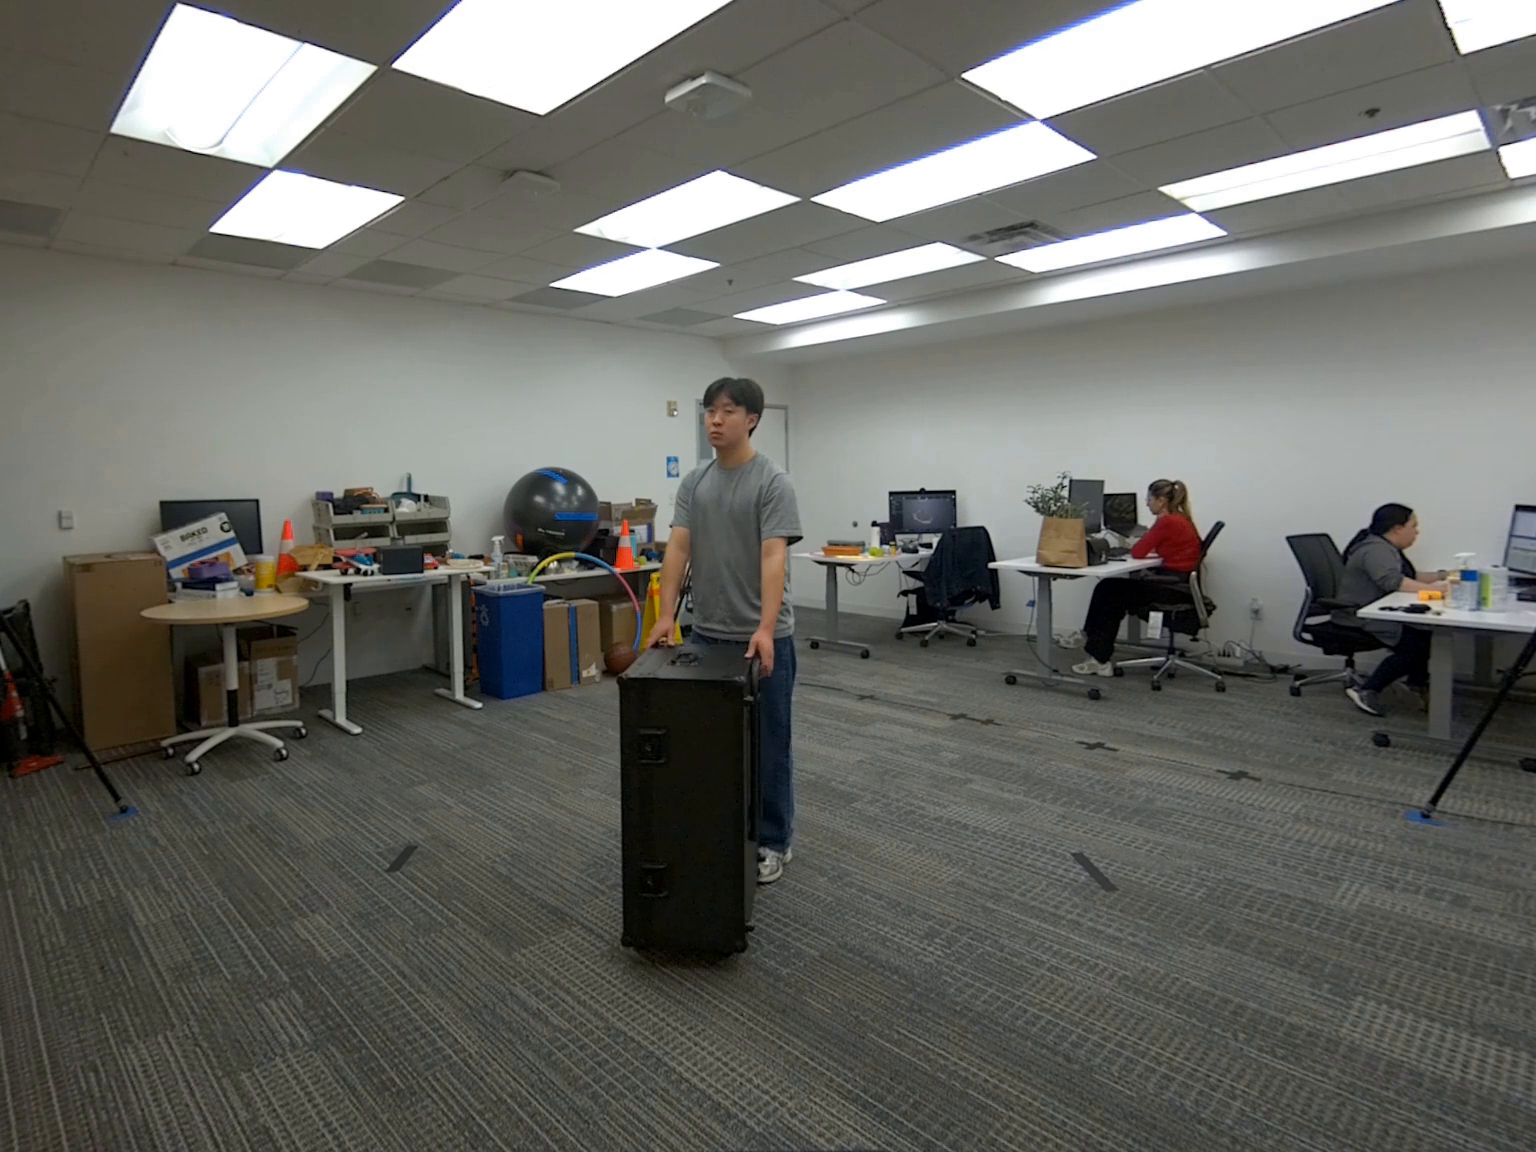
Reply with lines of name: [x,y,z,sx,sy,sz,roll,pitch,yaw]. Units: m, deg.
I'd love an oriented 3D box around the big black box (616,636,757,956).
big black box: [-0.216,0.689,2.637,0.398,0.858,0.520,0,5,5]
